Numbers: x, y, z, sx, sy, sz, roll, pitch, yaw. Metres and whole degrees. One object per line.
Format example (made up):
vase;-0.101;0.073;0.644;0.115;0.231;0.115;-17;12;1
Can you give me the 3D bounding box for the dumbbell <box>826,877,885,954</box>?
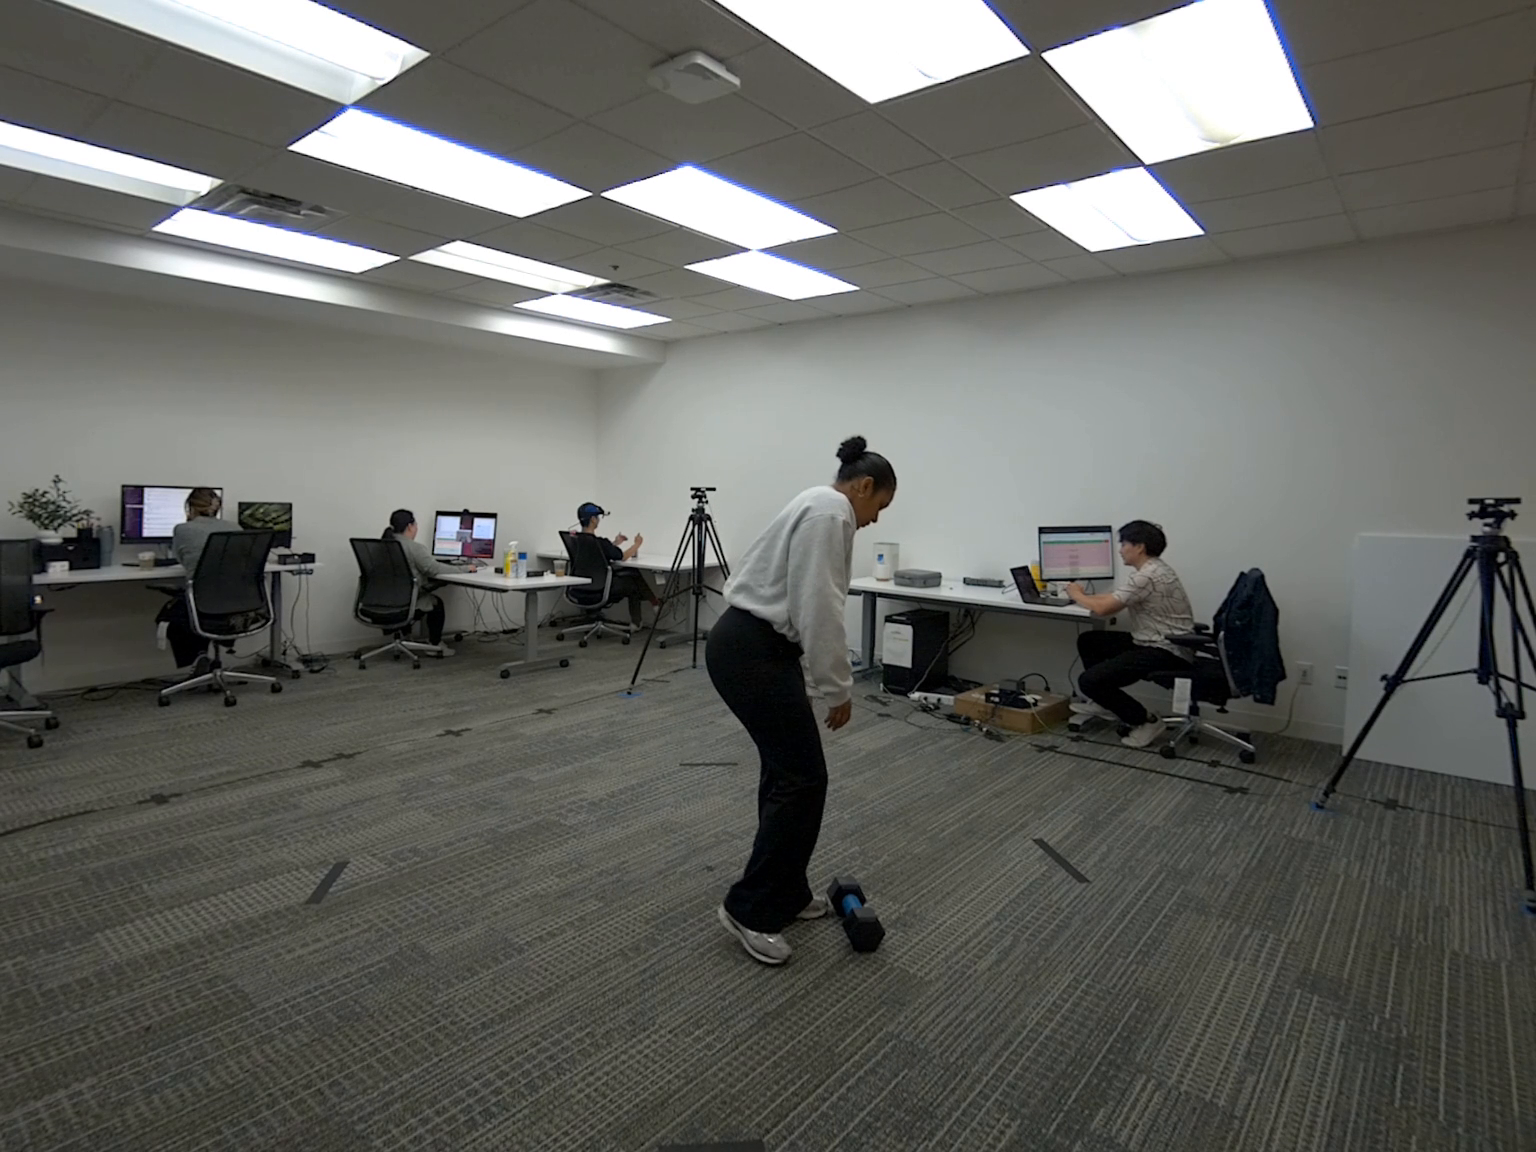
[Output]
dumbbell;0.269;1.070;2.693;0.108;0.122;0.297;-29;9;-5
